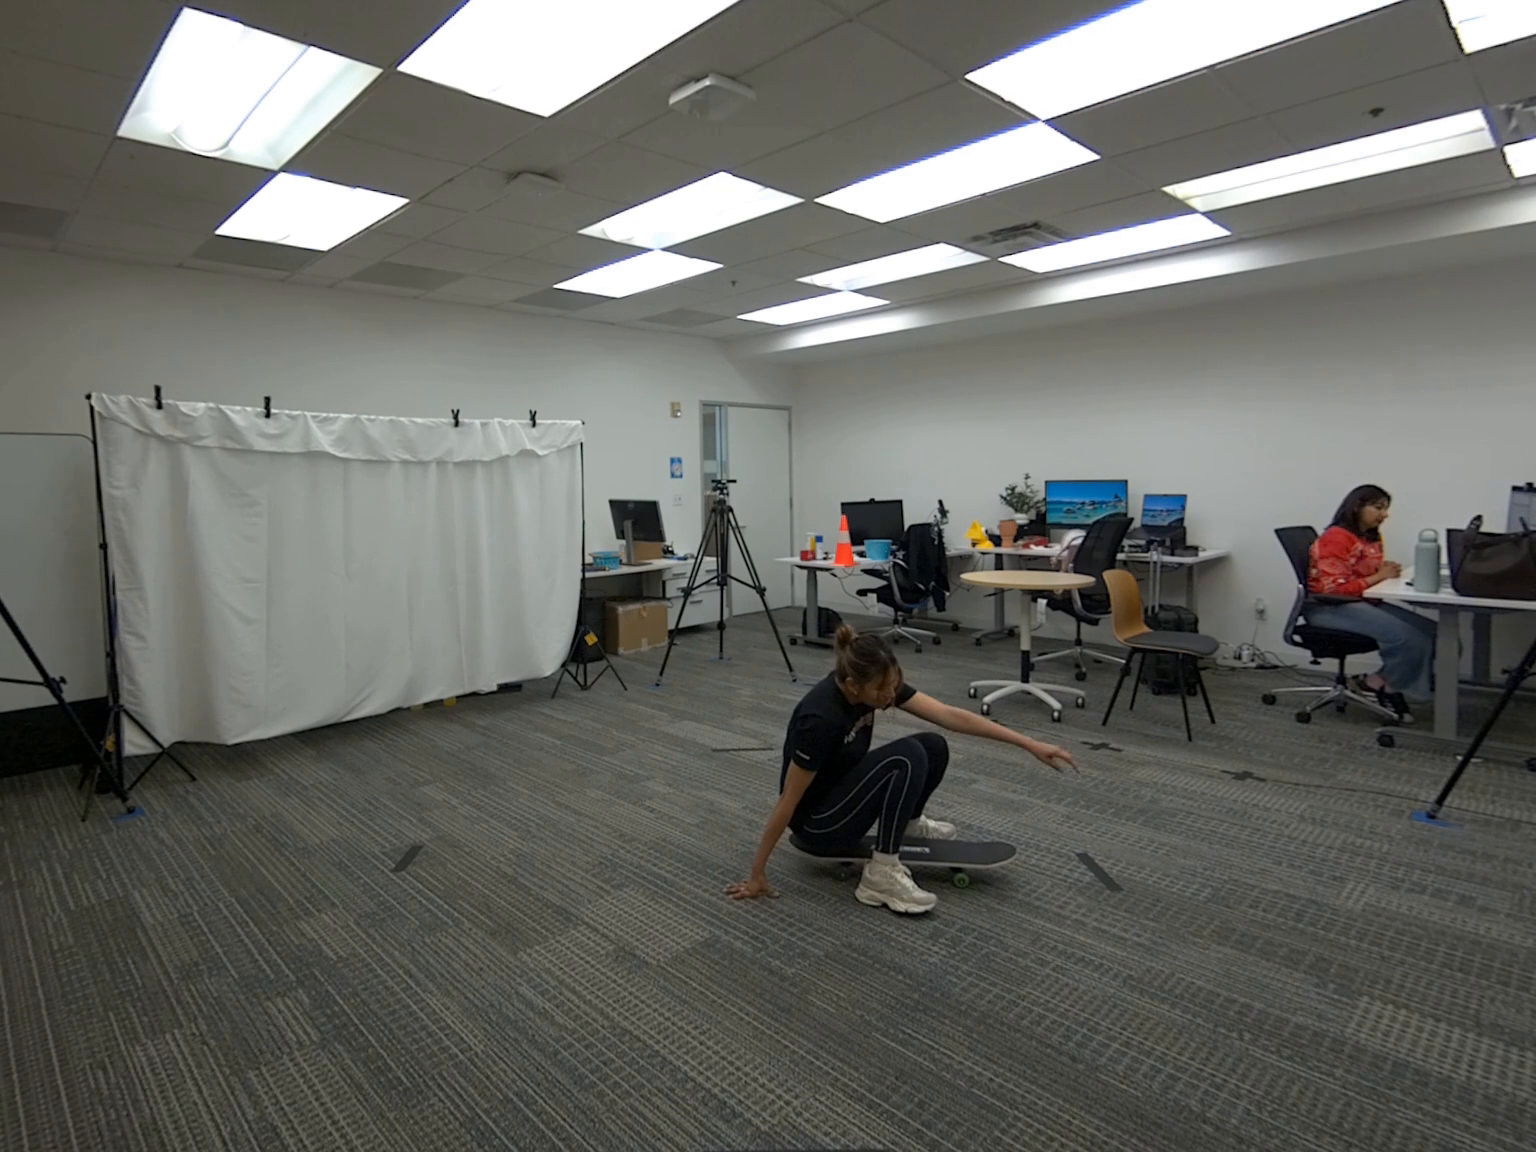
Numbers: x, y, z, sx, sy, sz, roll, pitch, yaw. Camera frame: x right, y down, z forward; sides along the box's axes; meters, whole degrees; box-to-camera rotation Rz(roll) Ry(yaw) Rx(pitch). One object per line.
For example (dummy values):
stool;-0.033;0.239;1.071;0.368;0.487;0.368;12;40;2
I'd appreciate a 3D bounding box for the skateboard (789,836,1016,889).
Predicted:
skateboard;0.466;0.984;3.009;0.793;0.110;0.192;0;7;10
